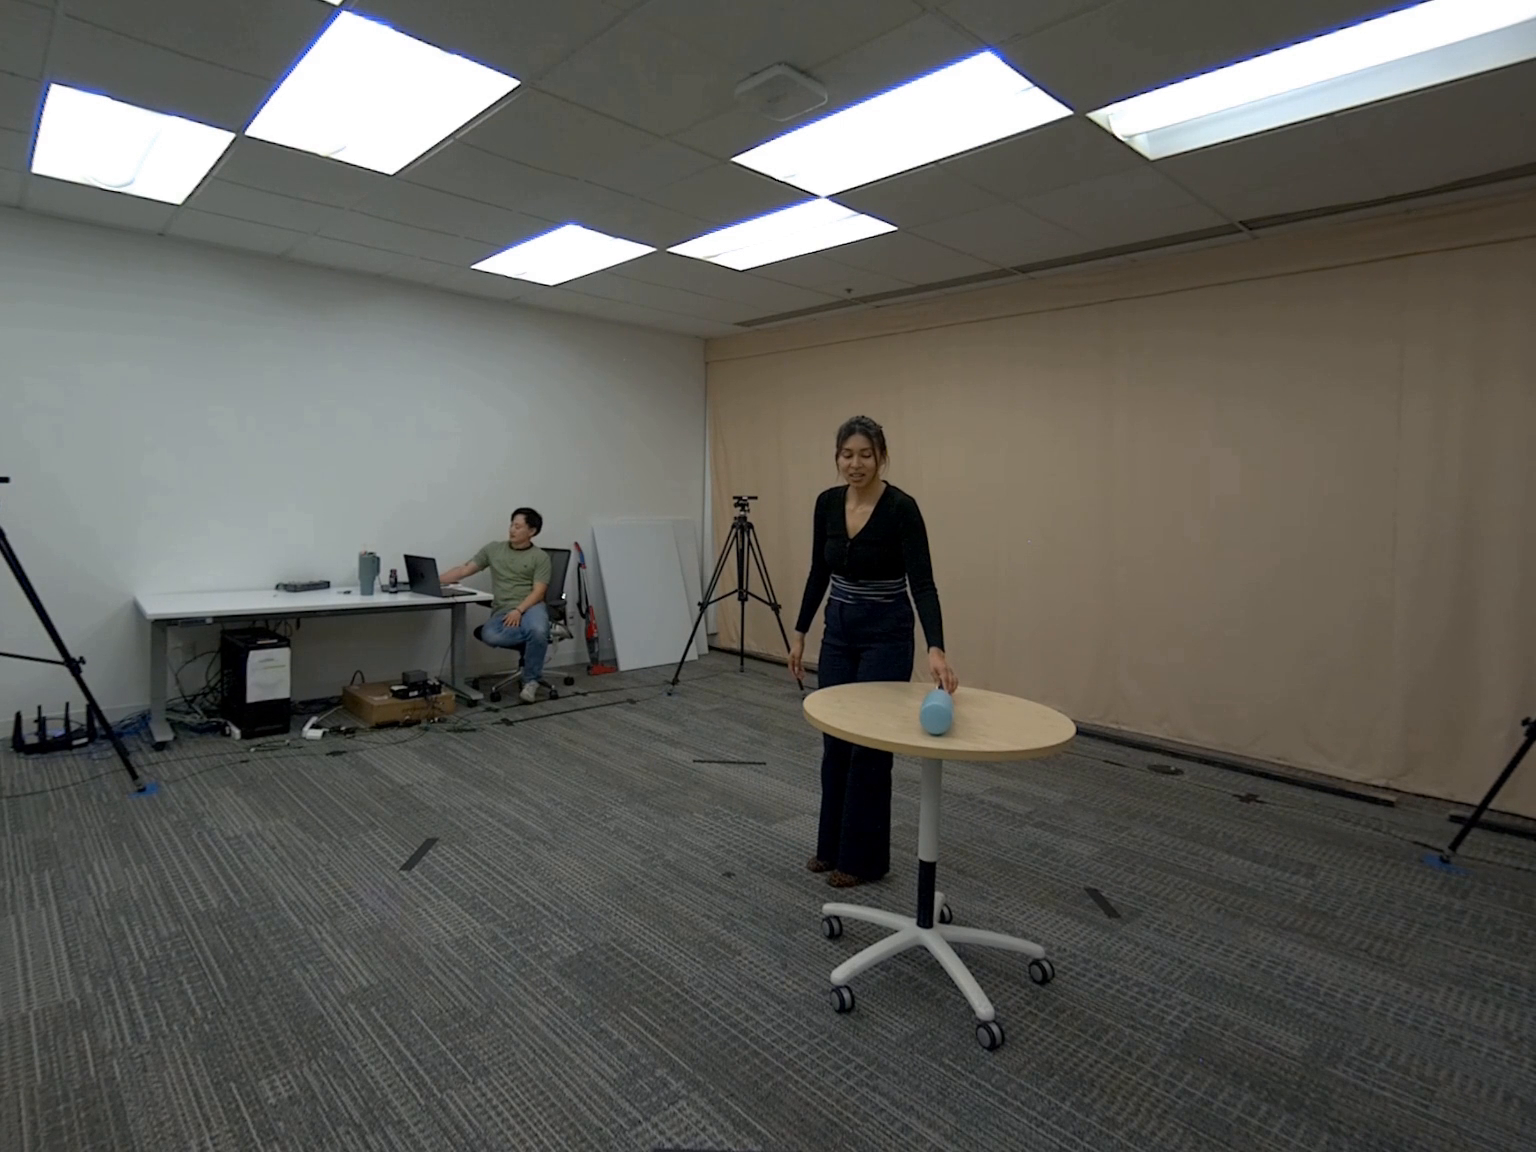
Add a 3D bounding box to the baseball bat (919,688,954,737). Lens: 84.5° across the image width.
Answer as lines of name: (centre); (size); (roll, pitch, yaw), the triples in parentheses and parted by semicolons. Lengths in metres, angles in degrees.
baseball bat: (0.495, 0.360, 2.430); (0.090, 0.089, 0.538); (2, 4, 13)
